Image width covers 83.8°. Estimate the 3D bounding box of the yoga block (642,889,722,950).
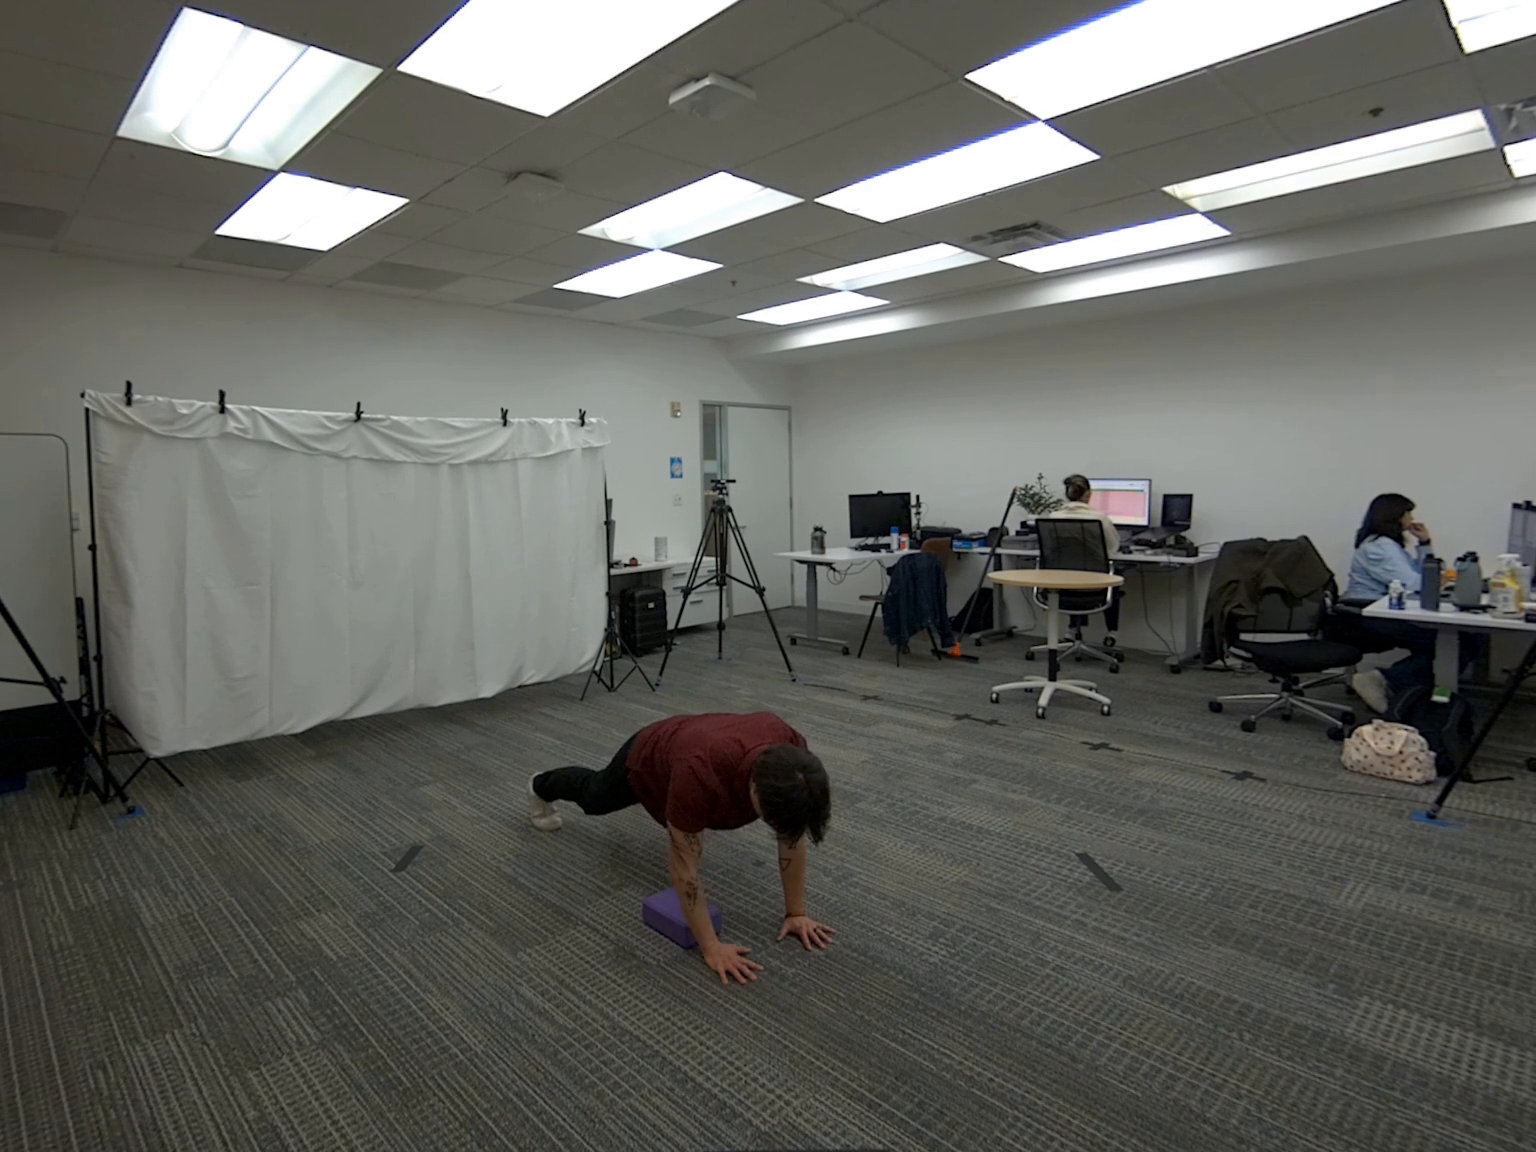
[{"bbox_3d":[-0.268,1.063,2.674,0.145,0.076,0.236,-8,9,-44],"label":"yoga block"}]
